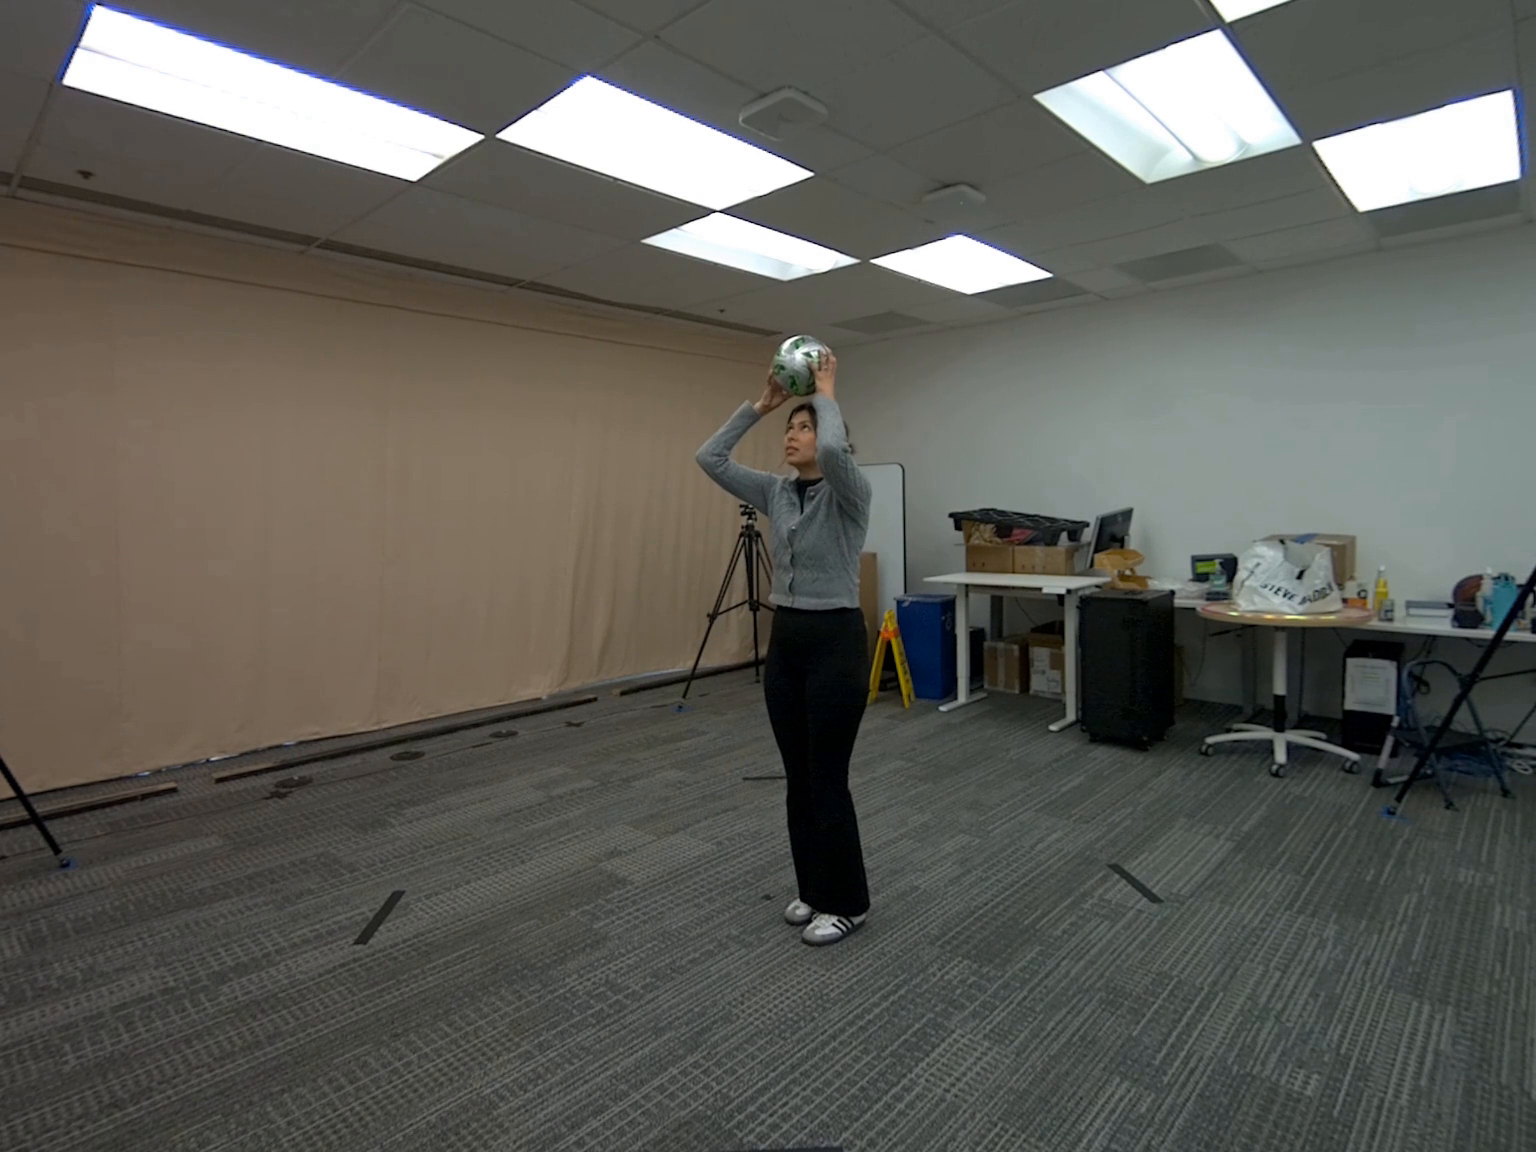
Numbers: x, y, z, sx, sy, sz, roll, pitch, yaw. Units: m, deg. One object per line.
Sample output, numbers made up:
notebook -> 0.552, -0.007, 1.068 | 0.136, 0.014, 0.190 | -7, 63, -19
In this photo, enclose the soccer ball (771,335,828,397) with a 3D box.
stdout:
soccer ball -> 0.112, -0.661, 2.649 | 0.187, 0.187, 0.188 | -1, 4, -2
